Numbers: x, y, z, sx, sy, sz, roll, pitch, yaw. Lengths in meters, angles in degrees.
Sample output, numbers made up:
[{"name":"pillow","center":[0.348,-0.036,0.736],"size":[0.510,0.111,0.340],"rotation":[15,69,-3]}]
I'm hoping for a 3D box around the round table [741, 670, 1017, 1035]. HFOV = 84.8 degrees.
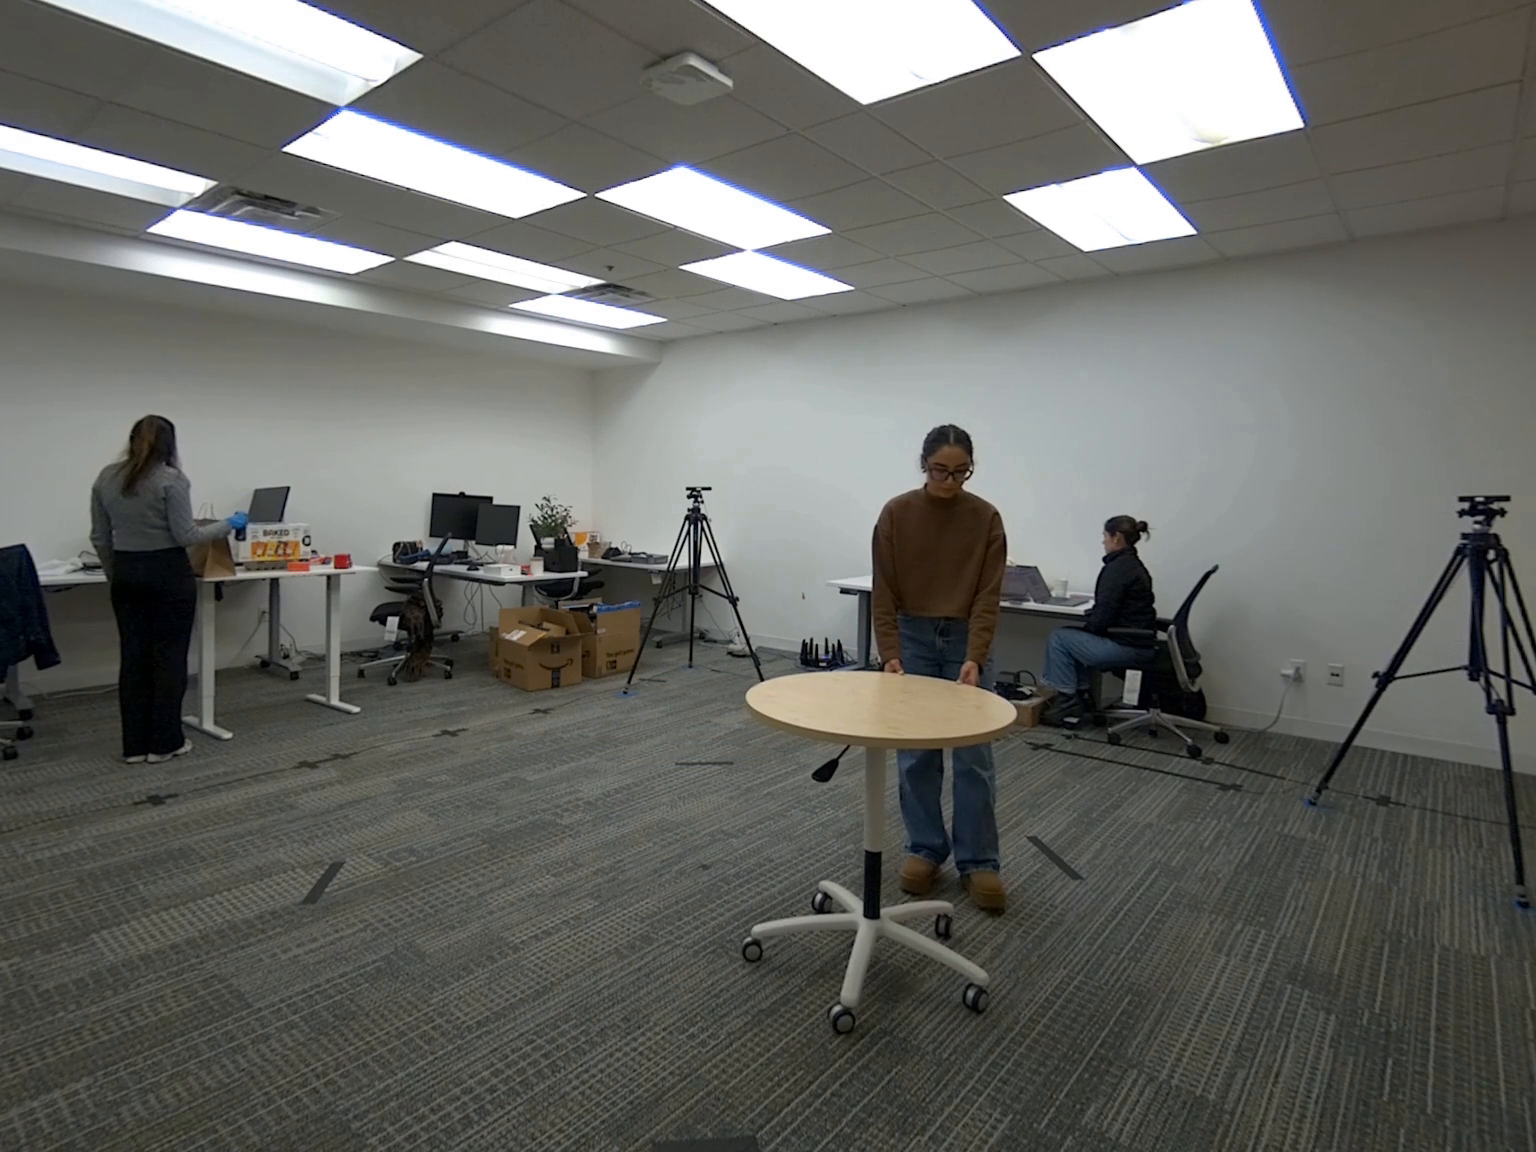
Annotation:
[{"name":"round table","center":[0.301,0.748,2.494],"size":[0.763,0.791,0.768],"rotation":[1,4,-2]}]
